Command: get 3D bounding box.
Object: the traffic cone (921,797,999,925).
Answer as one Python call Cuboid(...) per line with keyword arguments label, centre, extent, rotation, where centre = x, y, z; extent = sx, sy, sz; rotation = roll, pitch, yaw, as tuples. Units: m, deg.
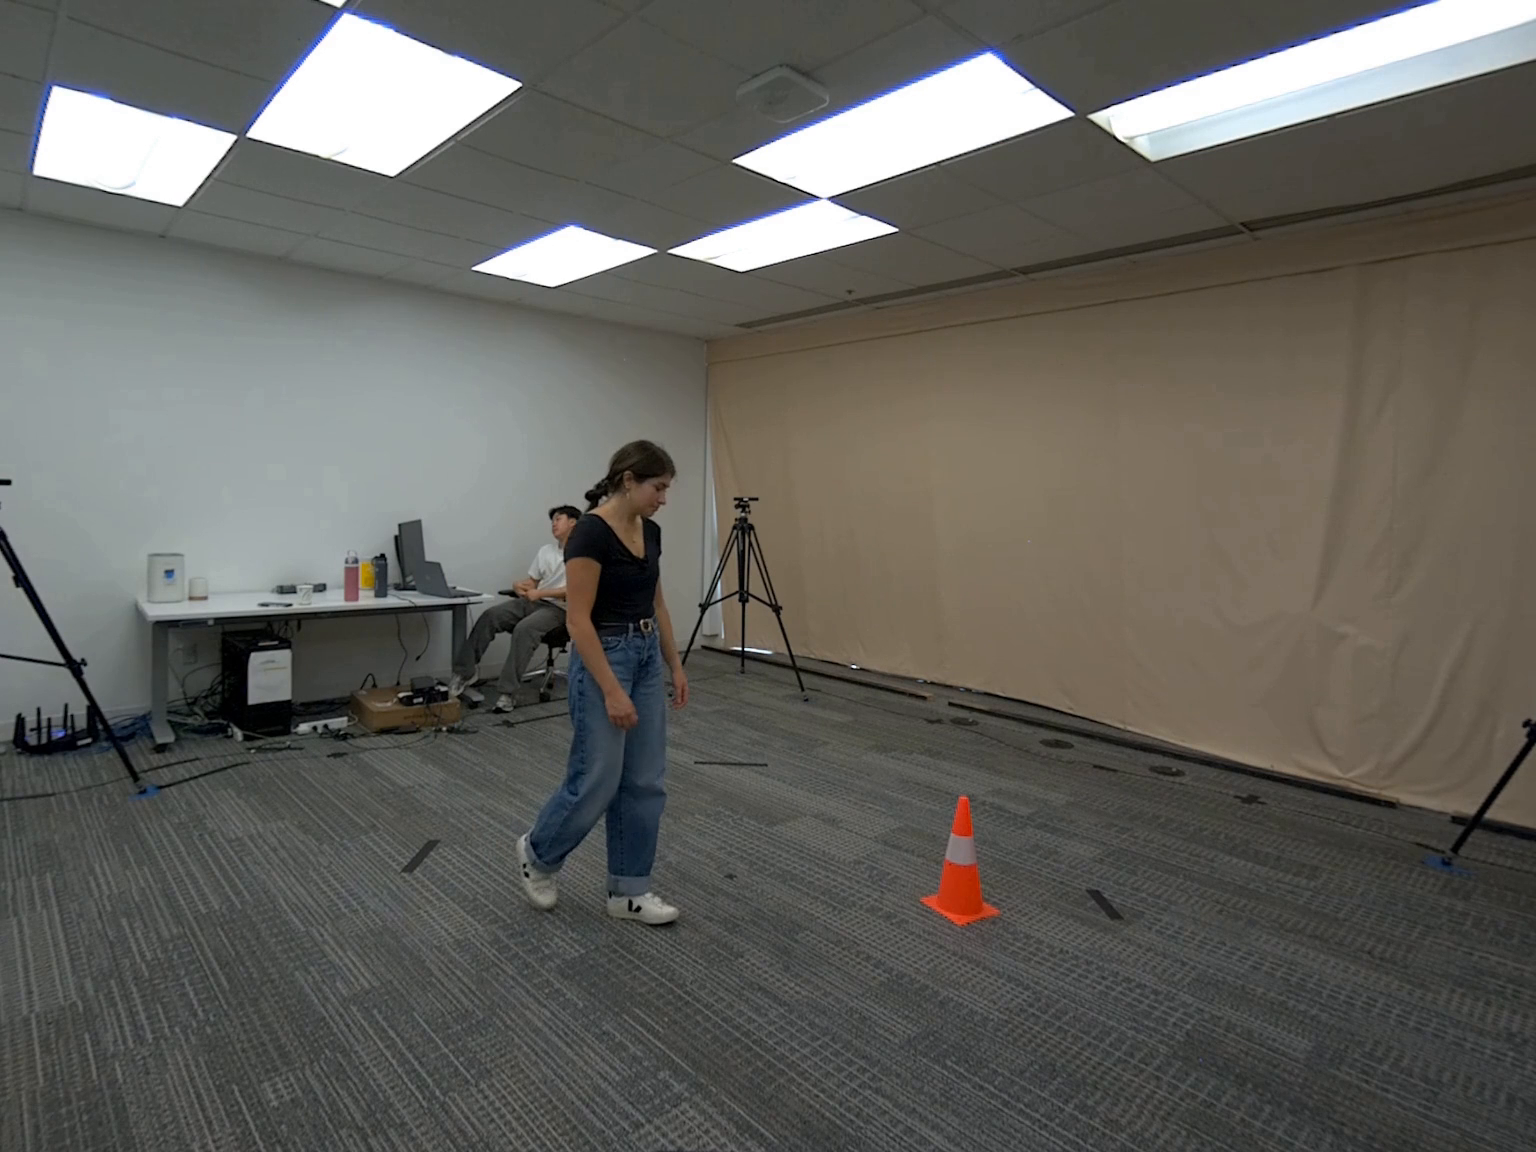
Cuboid(label="traffic cone", centre=(0.663, 0.962, 2.901), extent=(0.199, 0.382, 0.209), rotation=(-2, 5, -29))
